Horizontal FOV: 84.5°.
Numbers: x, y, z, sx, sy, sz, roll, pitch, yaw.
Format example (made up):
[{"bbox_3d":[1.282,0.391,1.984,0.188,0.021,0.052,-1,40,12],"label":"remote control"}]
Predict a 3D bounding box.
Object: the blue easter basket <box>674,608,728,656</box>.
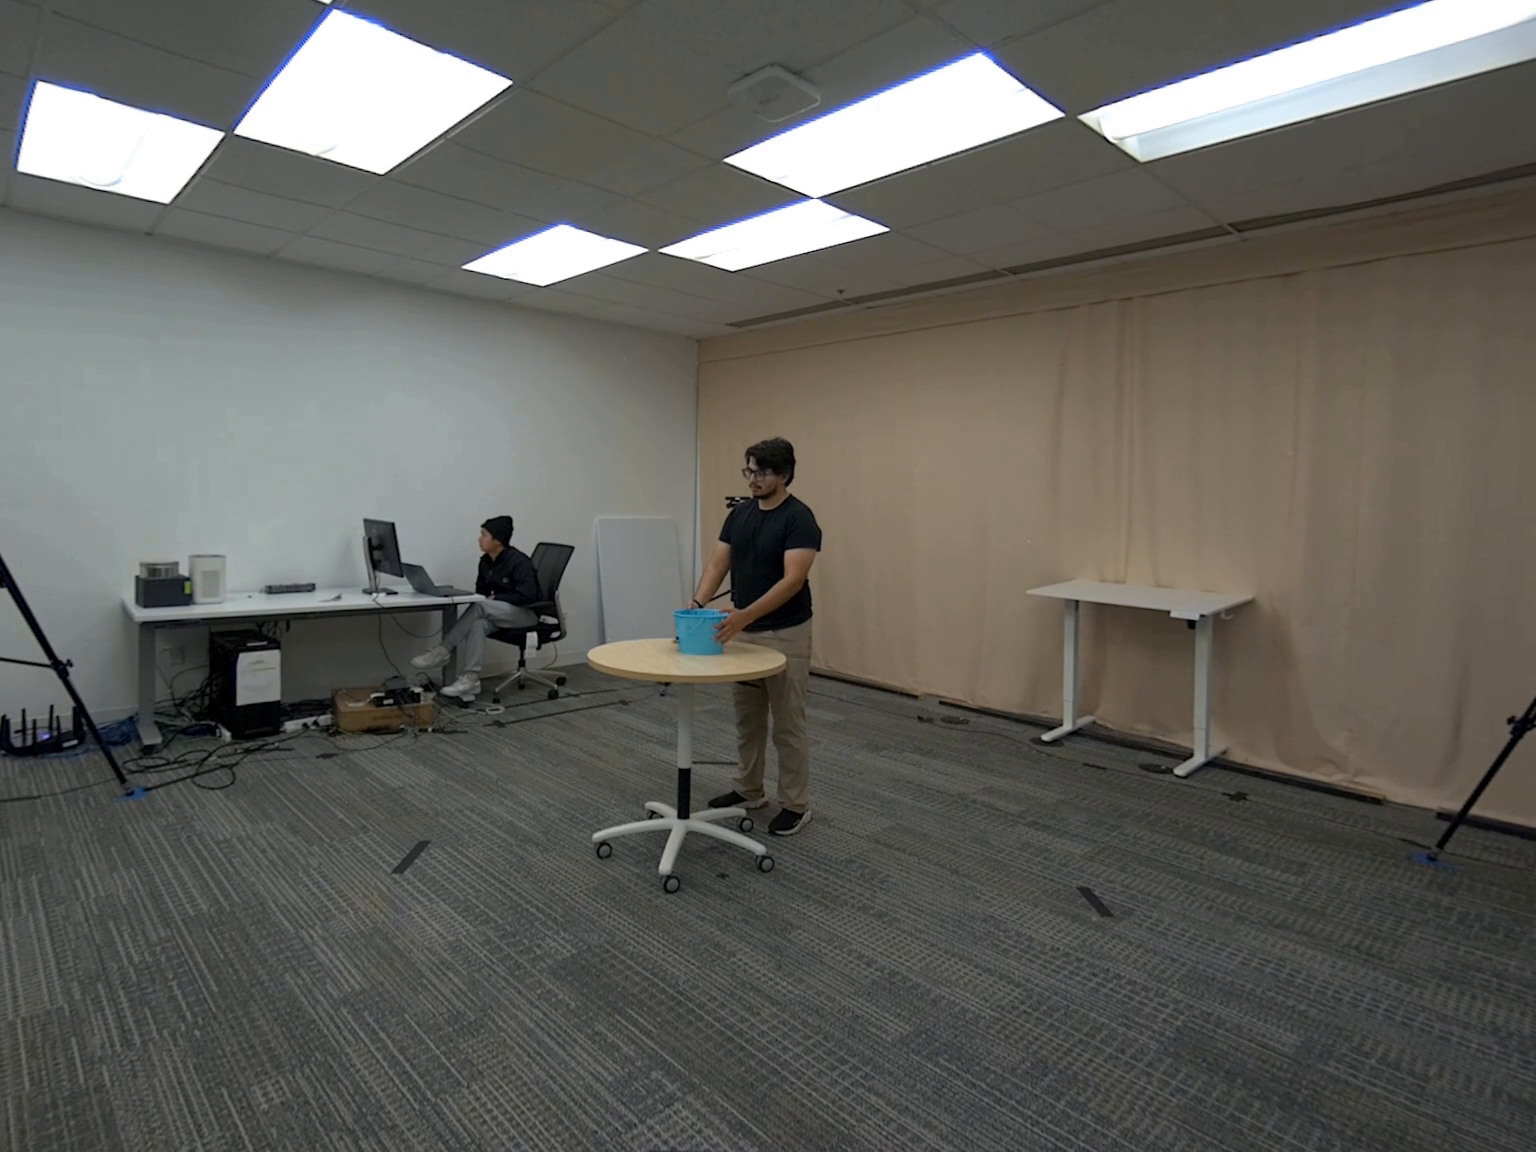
[{"bbox_3d":[-0.283,0.226,3.354,0.243,0.156,0.244,2,3,-1],"label":"blue easter basket"}]
